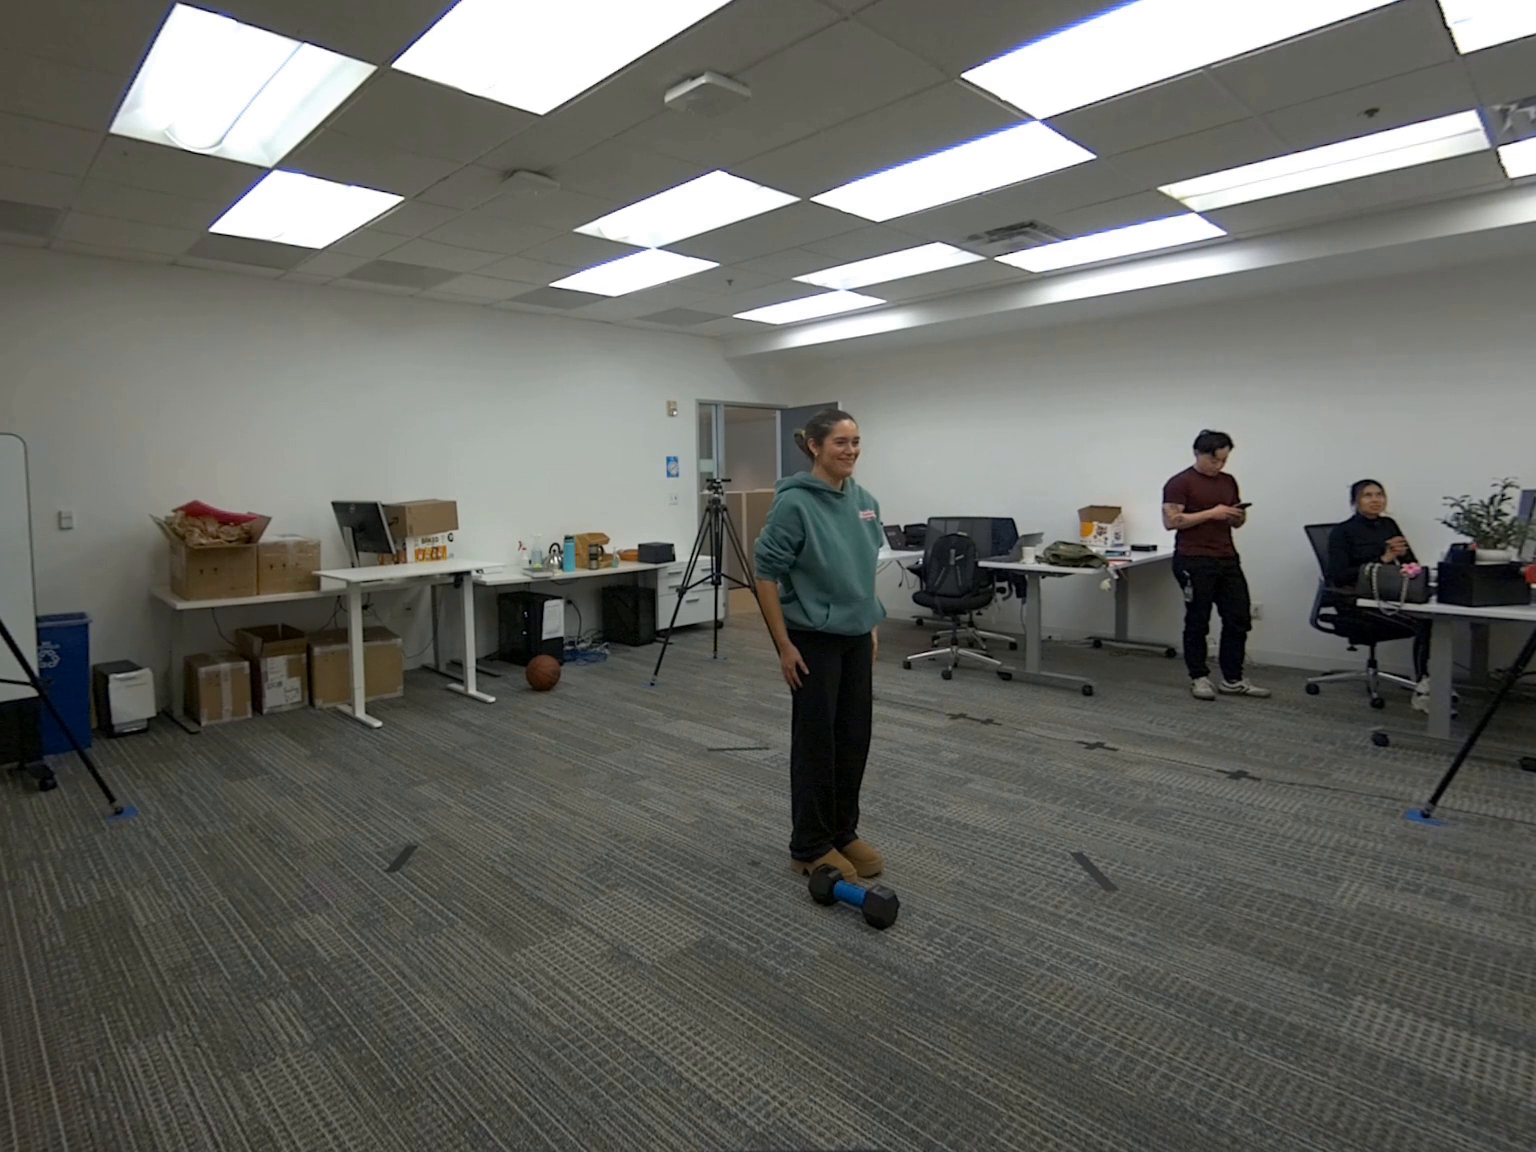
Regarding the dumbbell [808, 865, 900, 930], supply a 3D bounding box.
[{"bbox_3d":[0.276,1.032,2.744,0.303,0.119,0.108,5,38,43],"label":"dumbbell"}]
